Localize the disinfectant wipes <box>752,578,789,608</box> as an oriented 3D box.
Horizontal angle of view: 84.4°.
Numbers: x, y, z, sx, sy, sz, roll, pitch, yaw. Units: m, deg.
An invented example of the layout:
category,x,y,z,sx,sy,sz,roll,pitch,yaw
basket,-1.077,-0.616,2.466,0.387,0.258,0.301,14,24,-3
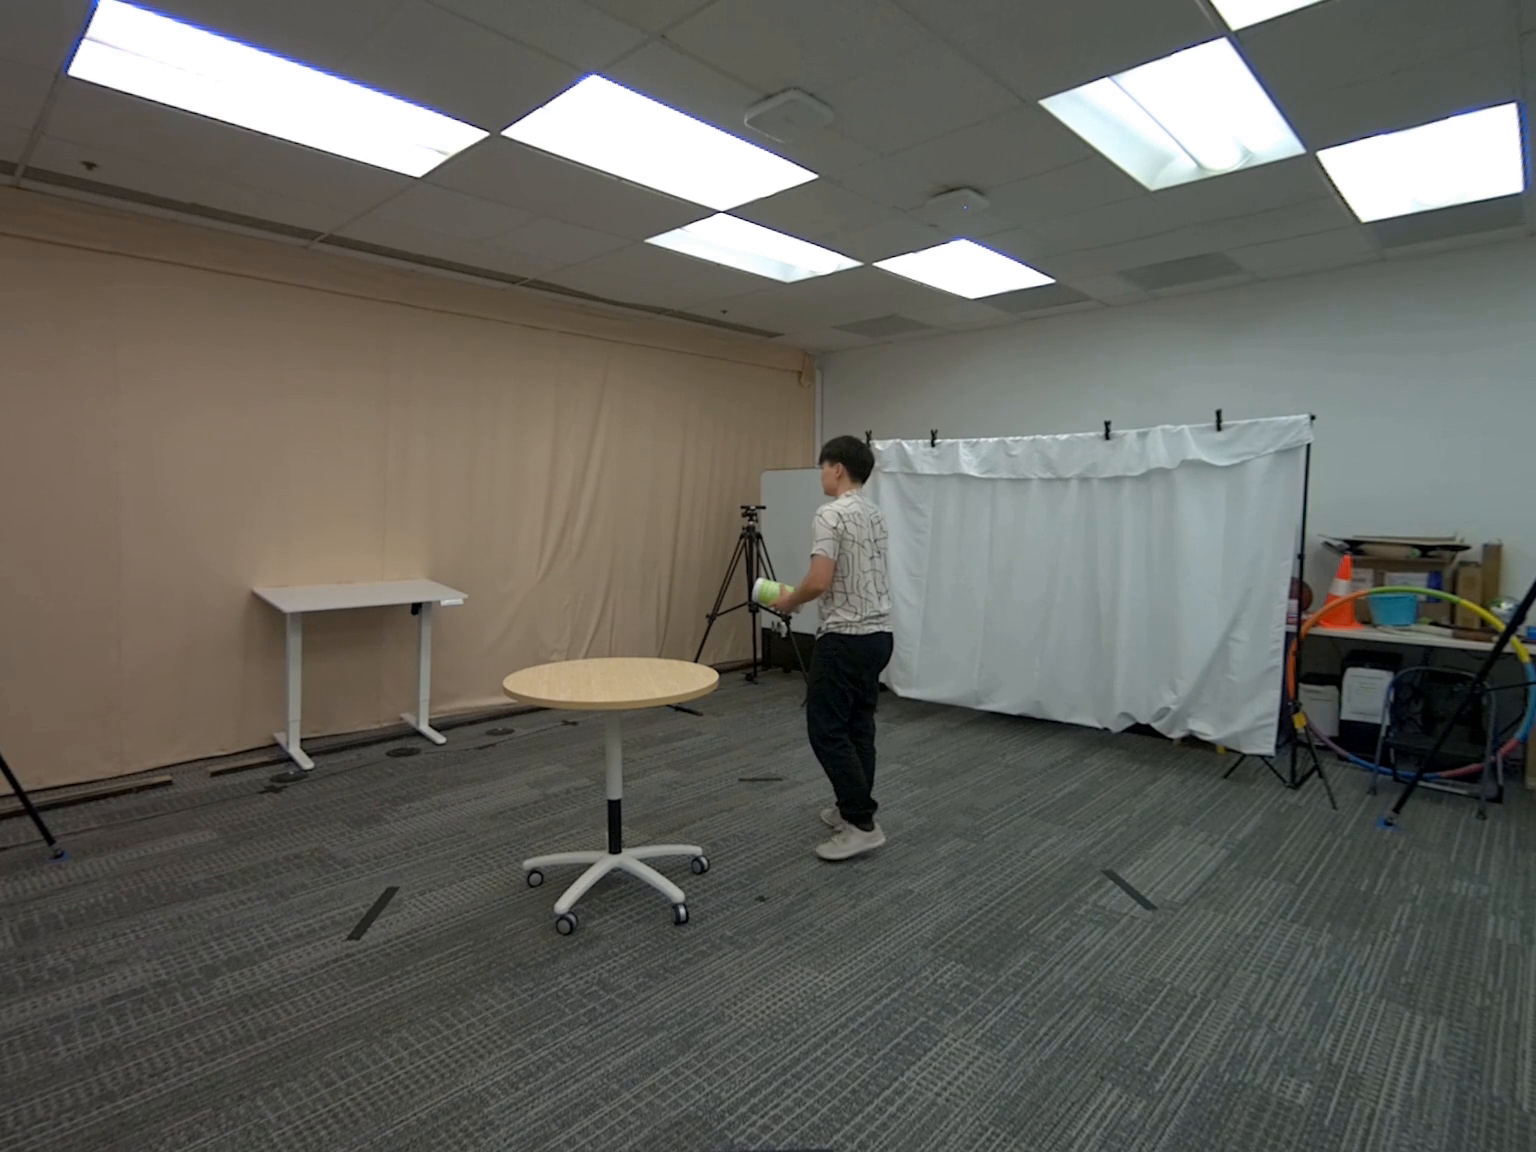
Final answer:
category,x,y,z,sx,sy,sz,roll,pitch,yaw
disinfectant wipes,0.053,0.086,3.661,0.220,0.117,0.116,14,6,11
